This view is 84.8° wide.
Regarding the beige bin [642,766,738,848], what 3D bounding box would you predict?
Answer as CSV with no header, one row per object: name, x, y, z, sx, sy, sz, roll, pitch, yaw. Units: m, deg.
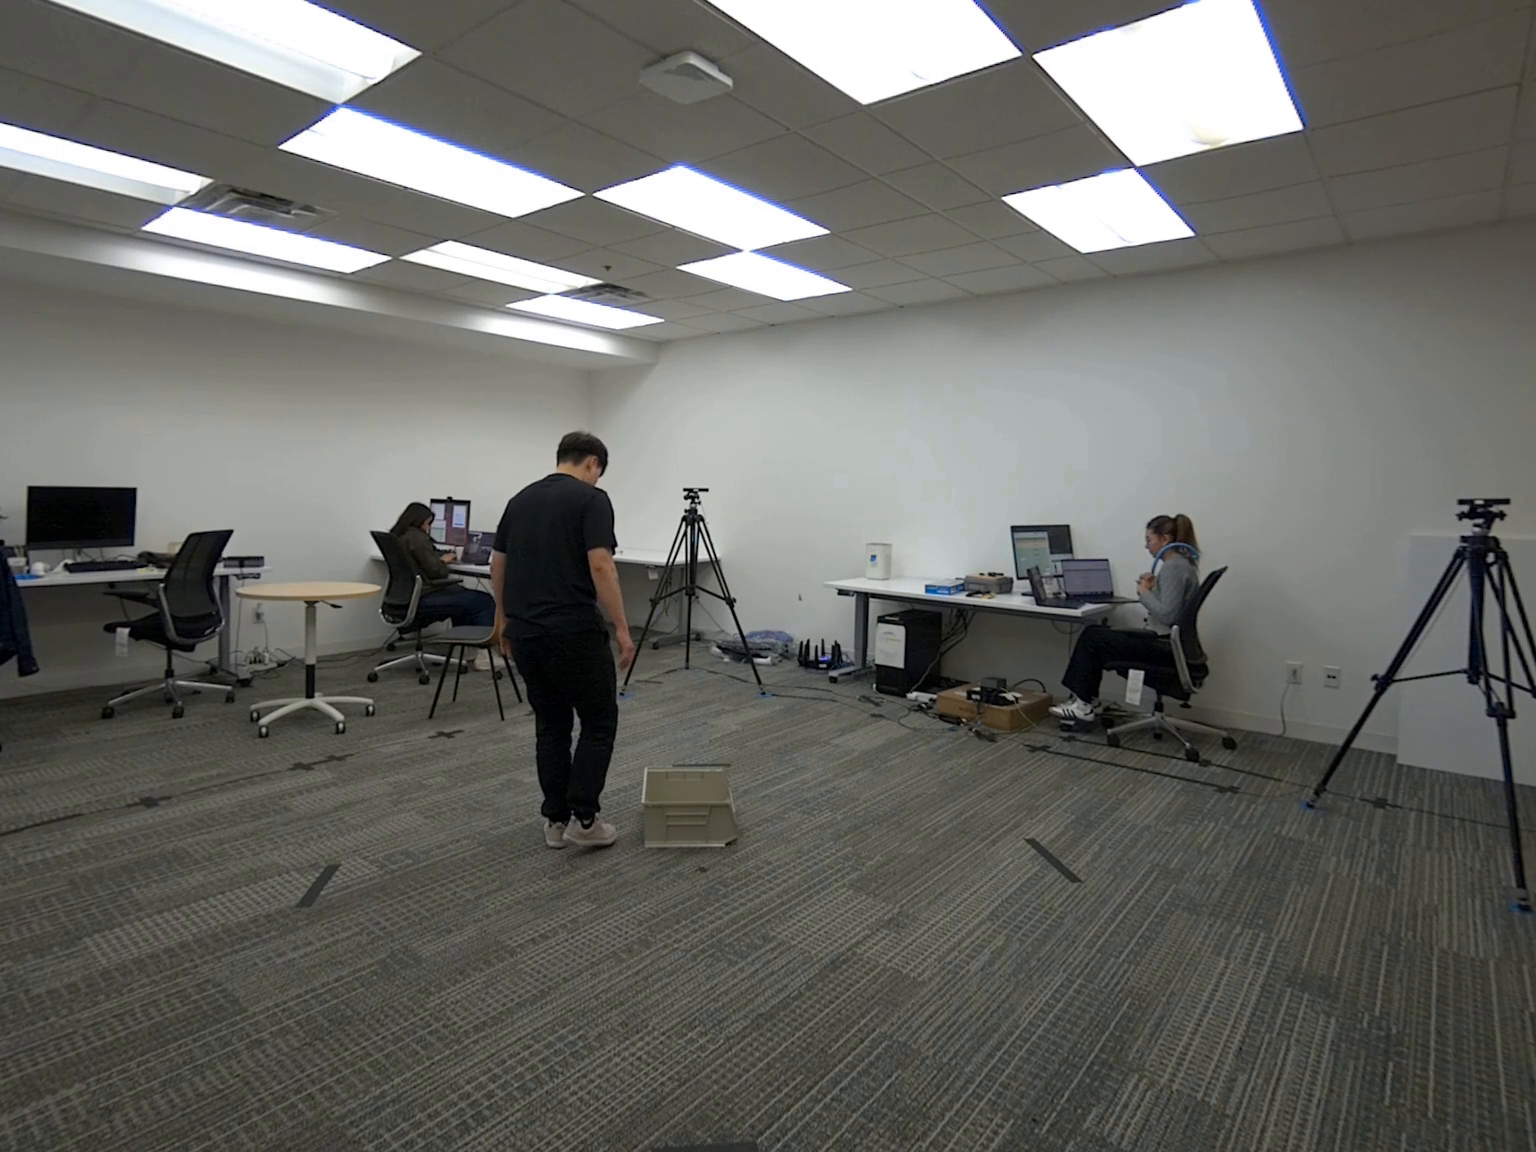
beige bin,-0.337,0.944,3.500,0.376,0.188,0.426,0,6,-5
